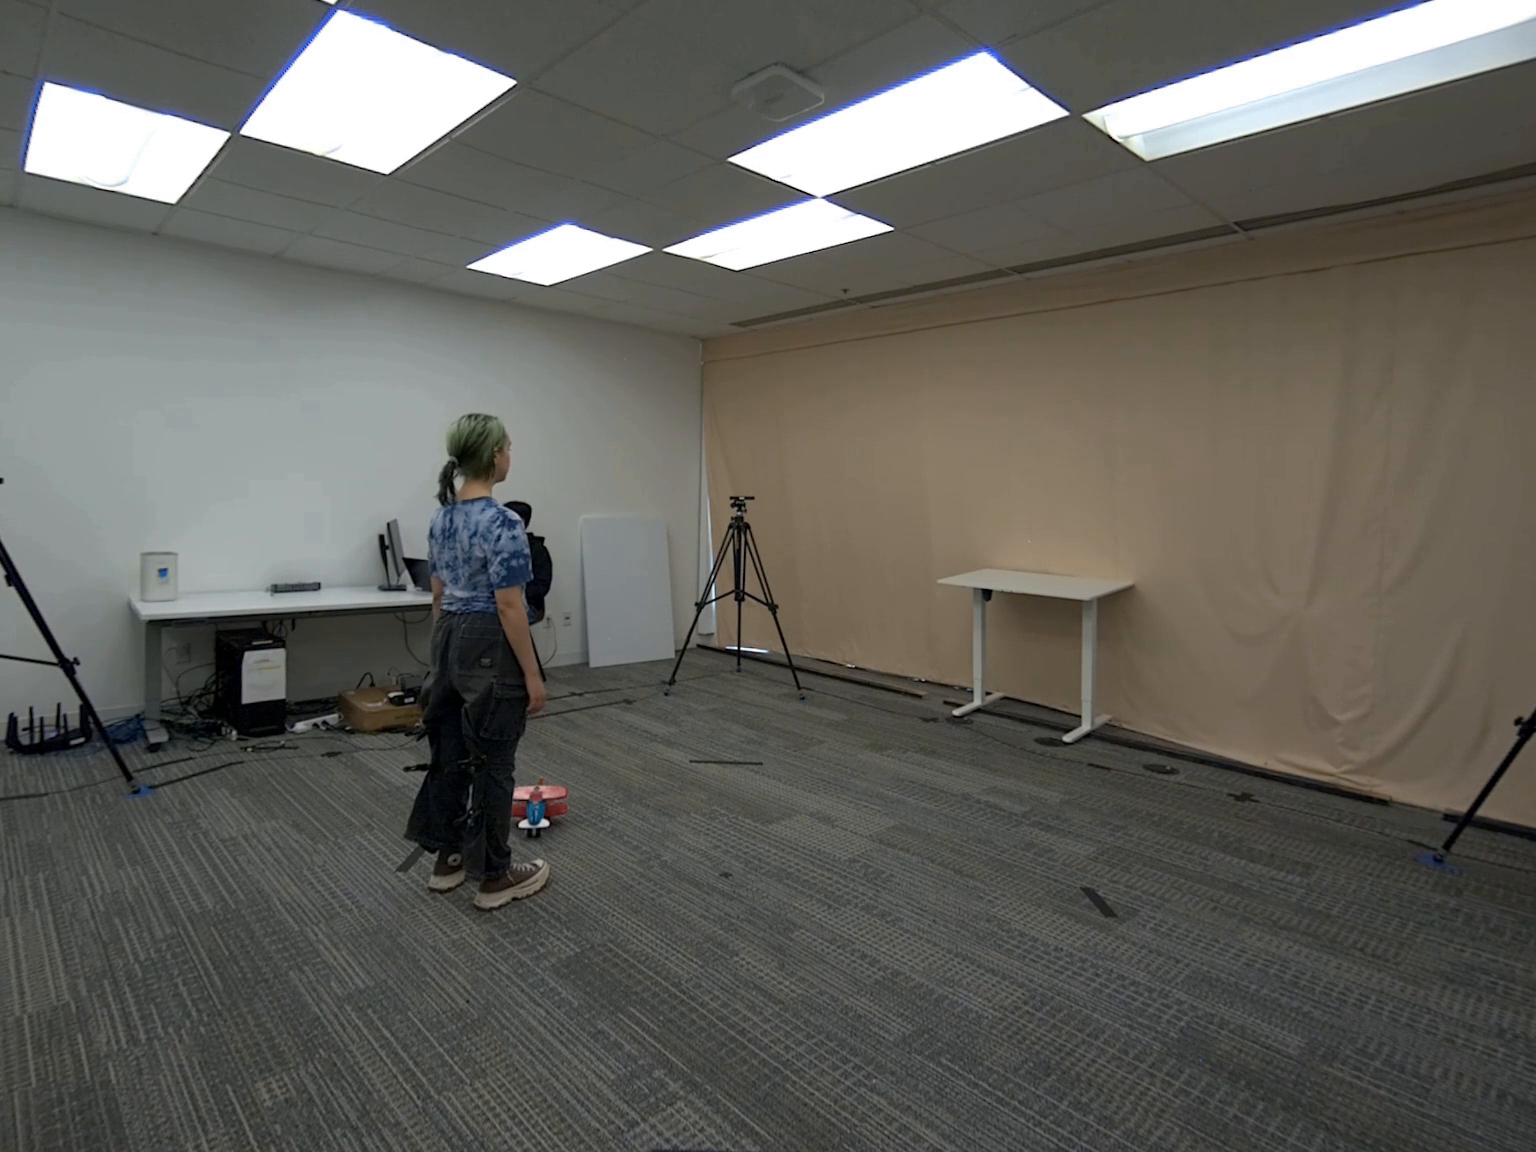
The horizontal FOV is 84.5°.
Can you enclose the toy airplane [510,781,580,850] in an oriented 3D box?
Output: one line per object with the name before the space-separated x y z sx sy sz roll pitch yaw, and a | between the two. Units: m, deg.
toy airplane | -0.956 0.981 3.501 0.245 0.156 0.265 -2 4 -37
